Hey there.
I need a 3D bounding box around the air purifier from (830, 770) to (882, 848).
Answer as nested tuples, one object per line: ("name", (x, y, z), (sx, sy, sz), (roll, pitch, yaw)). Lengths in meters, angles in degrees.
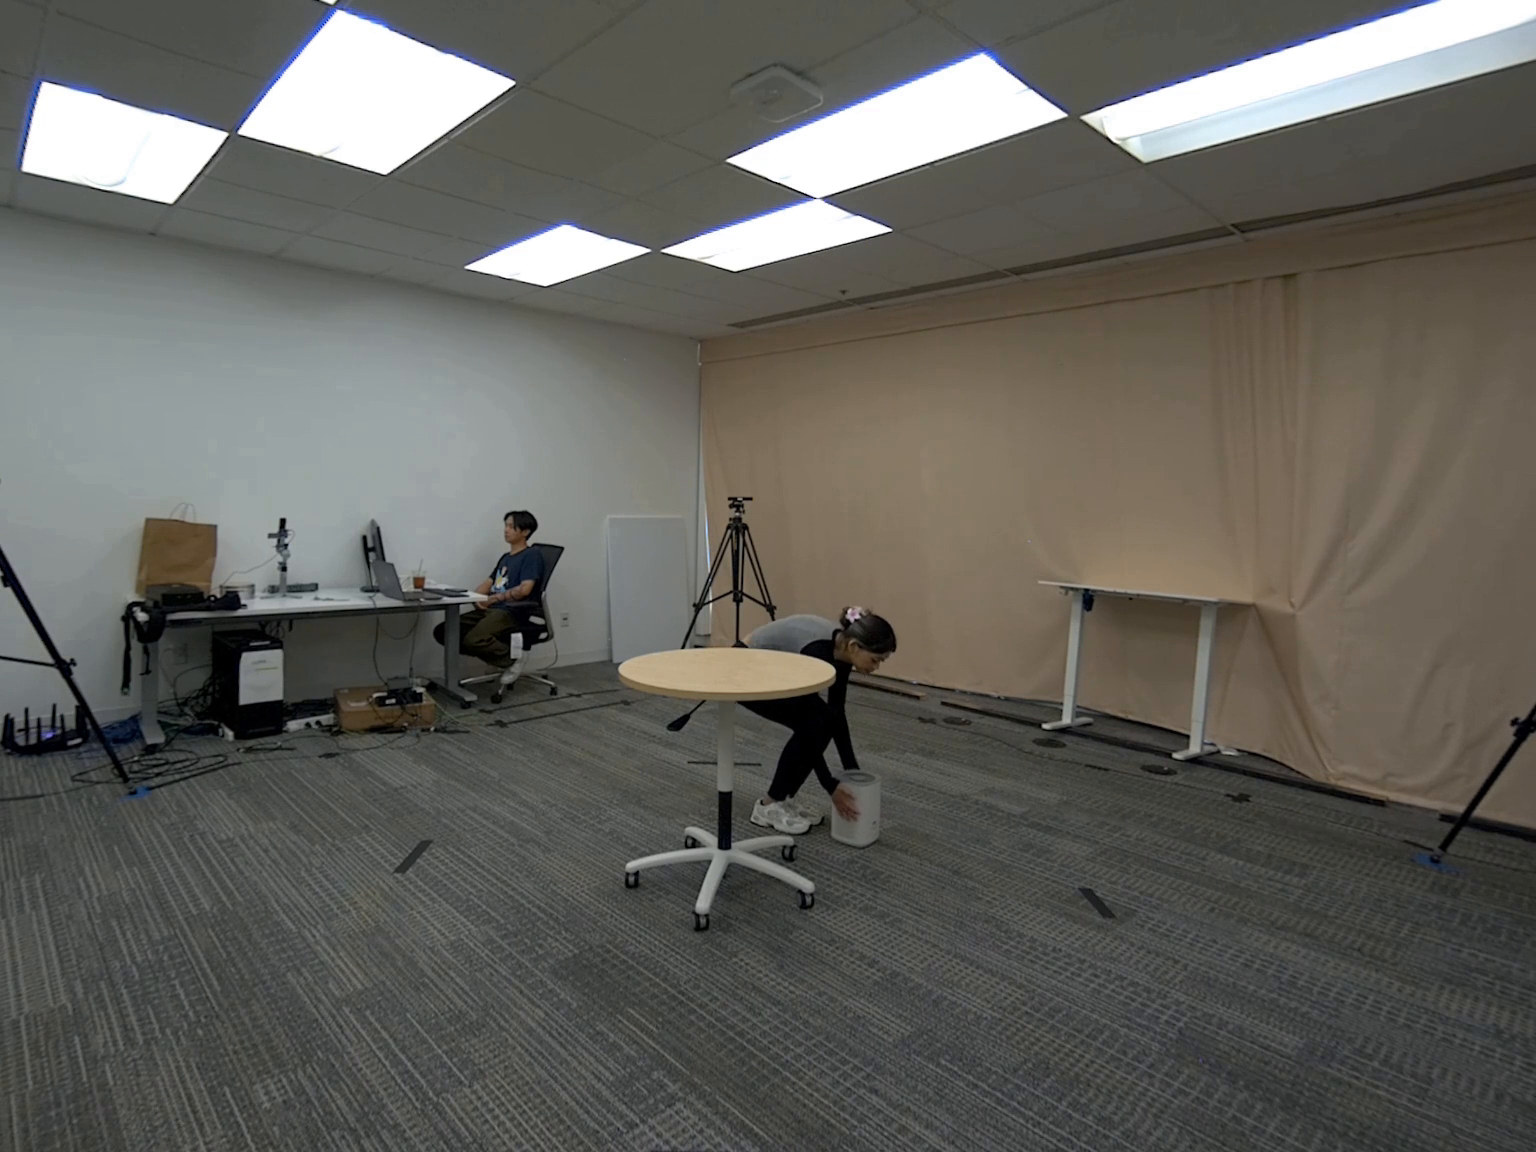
("air purifier", (0.350, 0.953, 3.469), (0.176, 0.265, 0.167), (3, 4, 36))
